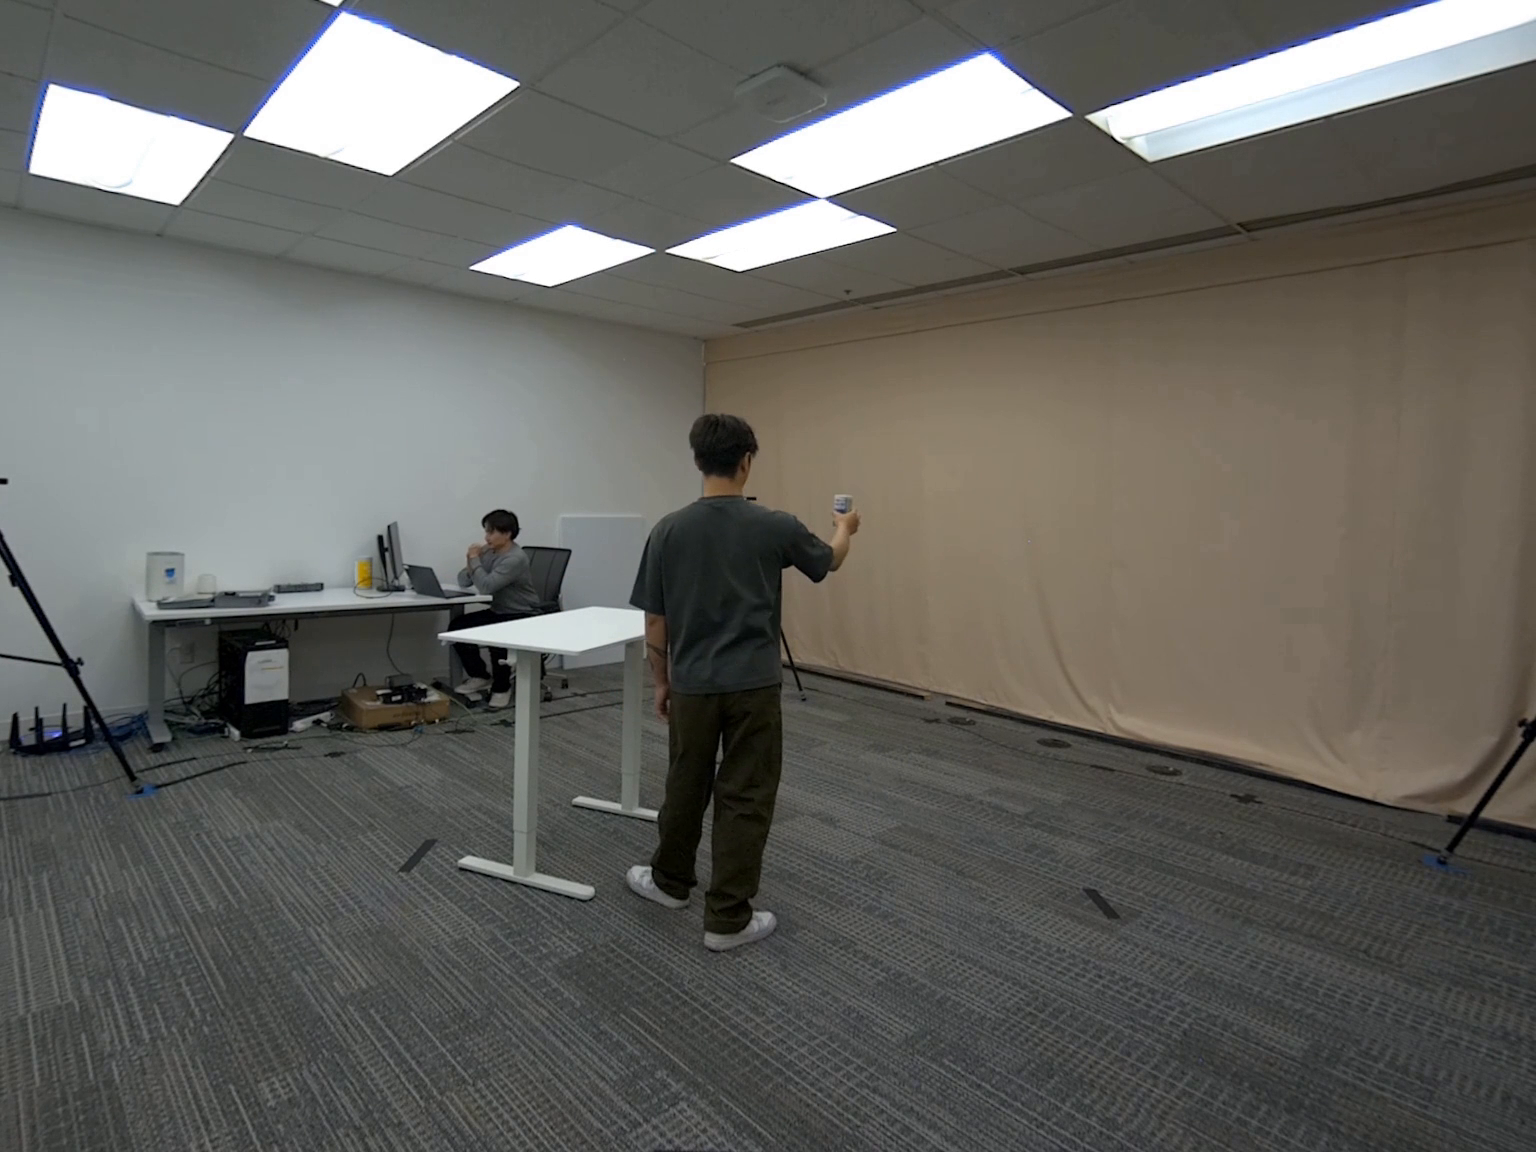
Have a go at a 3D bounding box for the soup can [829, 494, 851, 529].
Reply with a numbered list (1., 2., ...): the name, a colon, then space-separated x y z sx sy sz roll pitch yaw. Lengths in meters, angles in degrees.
1. soup can: 0.264 -0.242 3.133 0.067 0.121 0.067 -1 4 -1
